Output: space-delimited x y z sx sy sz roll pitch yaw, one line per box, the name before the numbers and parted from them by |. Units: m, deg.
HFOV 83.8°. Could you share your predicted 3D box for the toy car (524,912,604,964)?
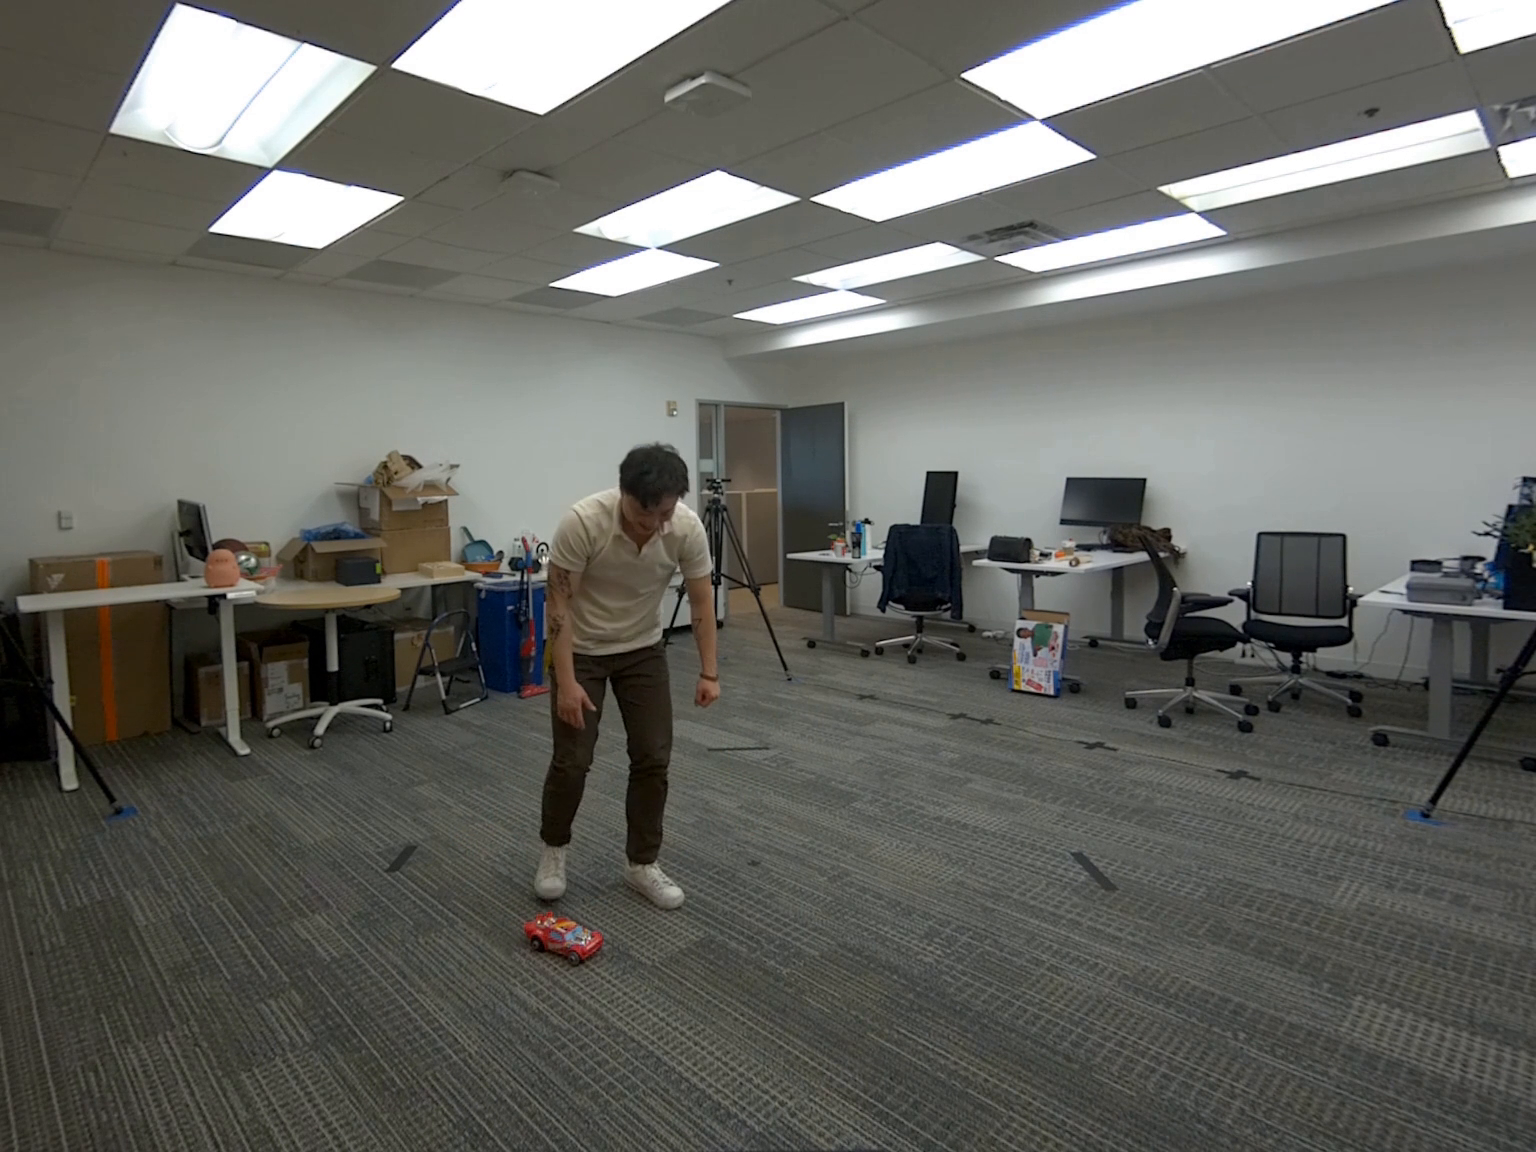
toy car | -0.617 1.089 2.565 0.262 0.082 0.127 15 13 29
